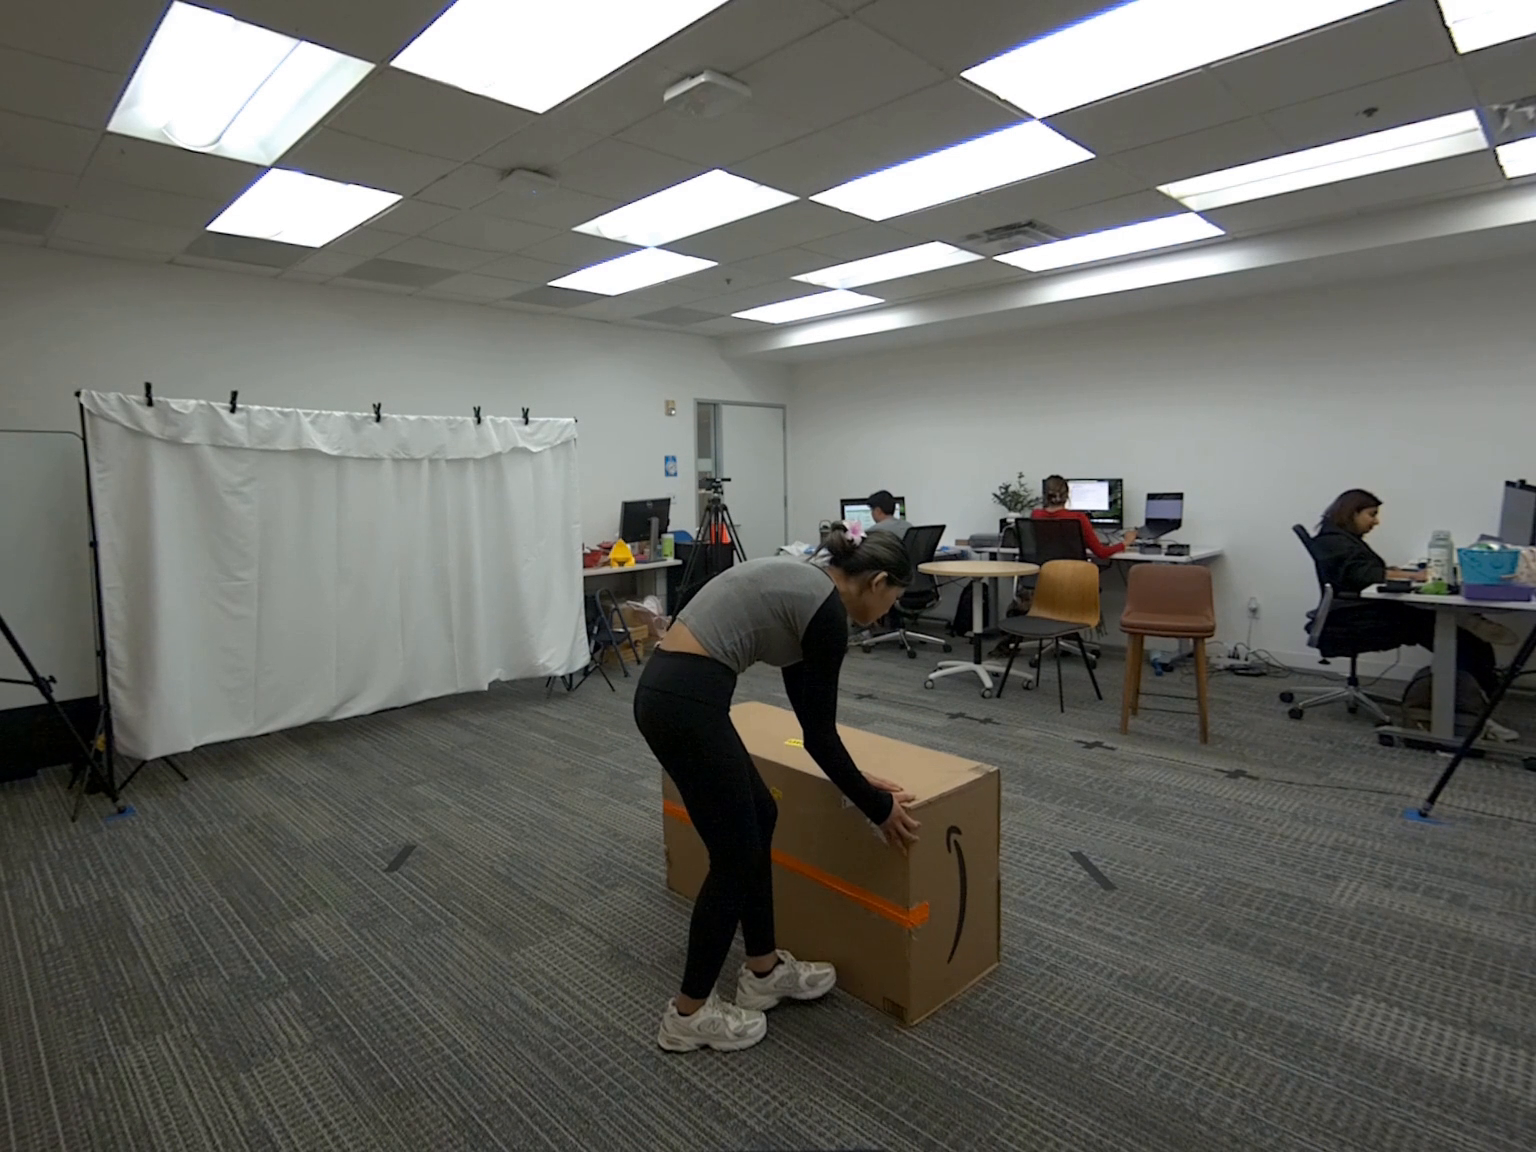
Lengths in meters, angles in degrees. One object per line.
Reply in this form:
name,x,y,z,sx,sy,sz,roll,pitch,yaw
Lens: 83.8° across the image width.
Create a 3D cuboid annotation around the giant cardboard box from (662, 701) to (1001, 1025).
giant cardboard box,0.154,0.805,2.667,0.435,0.581,1.059,-7,8,-43
